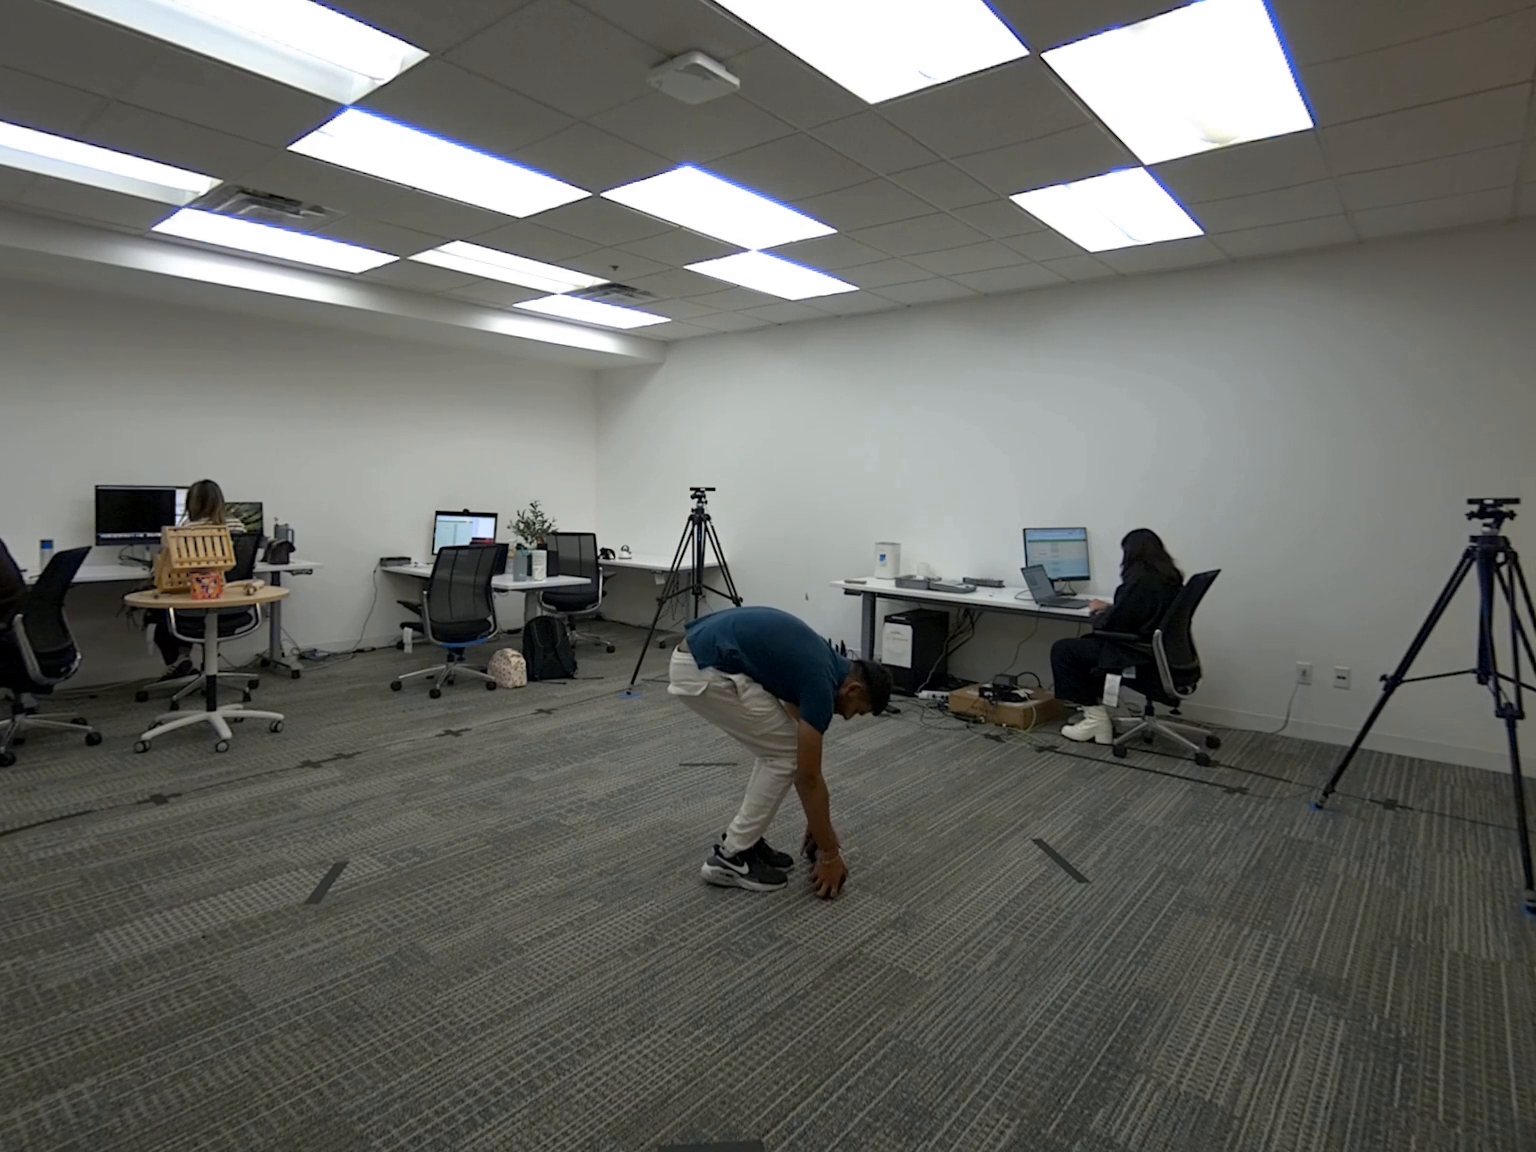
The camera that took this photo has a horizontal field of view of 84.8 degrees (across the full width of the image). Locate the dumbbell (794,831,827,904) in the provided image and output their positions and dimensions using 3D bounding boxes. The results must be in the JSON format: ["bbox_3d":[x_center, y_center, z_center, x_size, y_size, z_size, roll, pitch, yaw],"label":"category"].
[{"bbox_3d":[0.176,1.034,3.051,0.108,0.123,0.294,31,6,-3],"label":"dumbbell"}]
